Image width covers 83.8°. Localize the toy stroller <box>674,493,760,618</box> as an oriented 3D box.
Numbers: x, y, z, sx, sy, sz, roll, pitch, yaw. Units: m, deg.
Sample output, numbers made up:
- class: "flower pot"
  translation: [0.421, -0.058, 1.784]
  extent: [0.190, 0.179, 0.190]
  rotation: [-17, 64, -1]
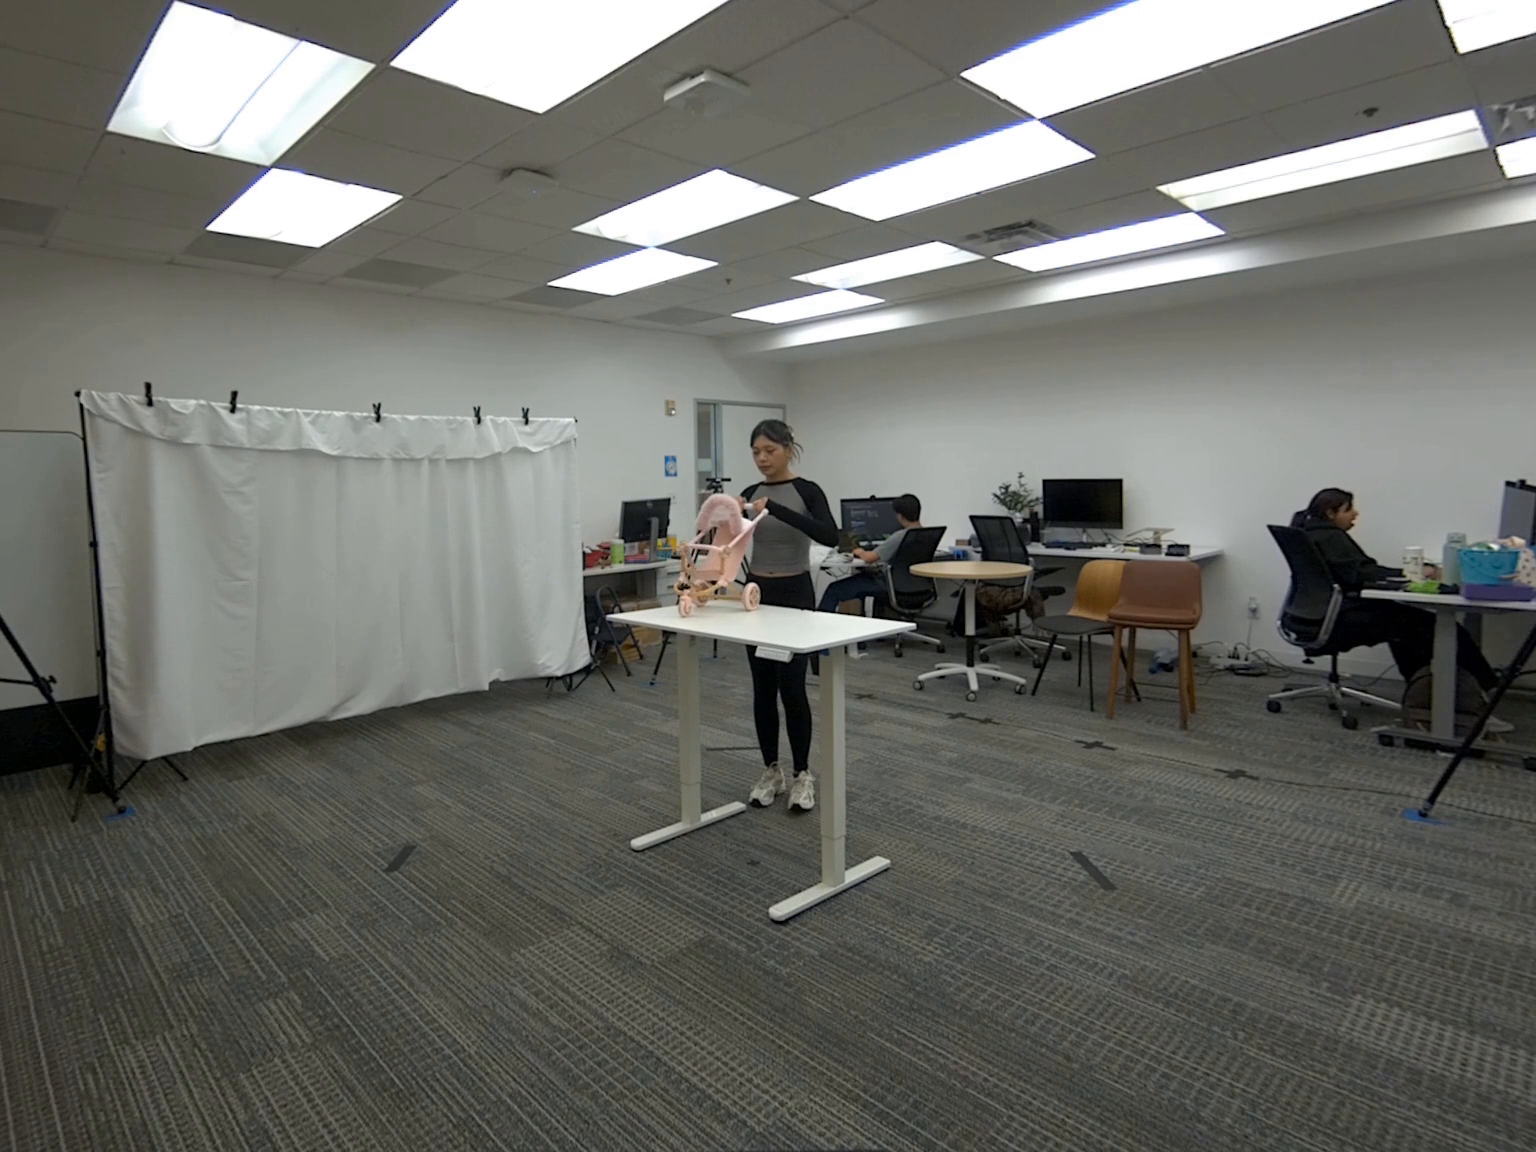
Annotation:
- class: "toy stroller"
  translation: [-0.201, -0.085, 3.338]
  extent: [0.290, 0.539, 0.329]
  rotation: [2, -12, 39]
